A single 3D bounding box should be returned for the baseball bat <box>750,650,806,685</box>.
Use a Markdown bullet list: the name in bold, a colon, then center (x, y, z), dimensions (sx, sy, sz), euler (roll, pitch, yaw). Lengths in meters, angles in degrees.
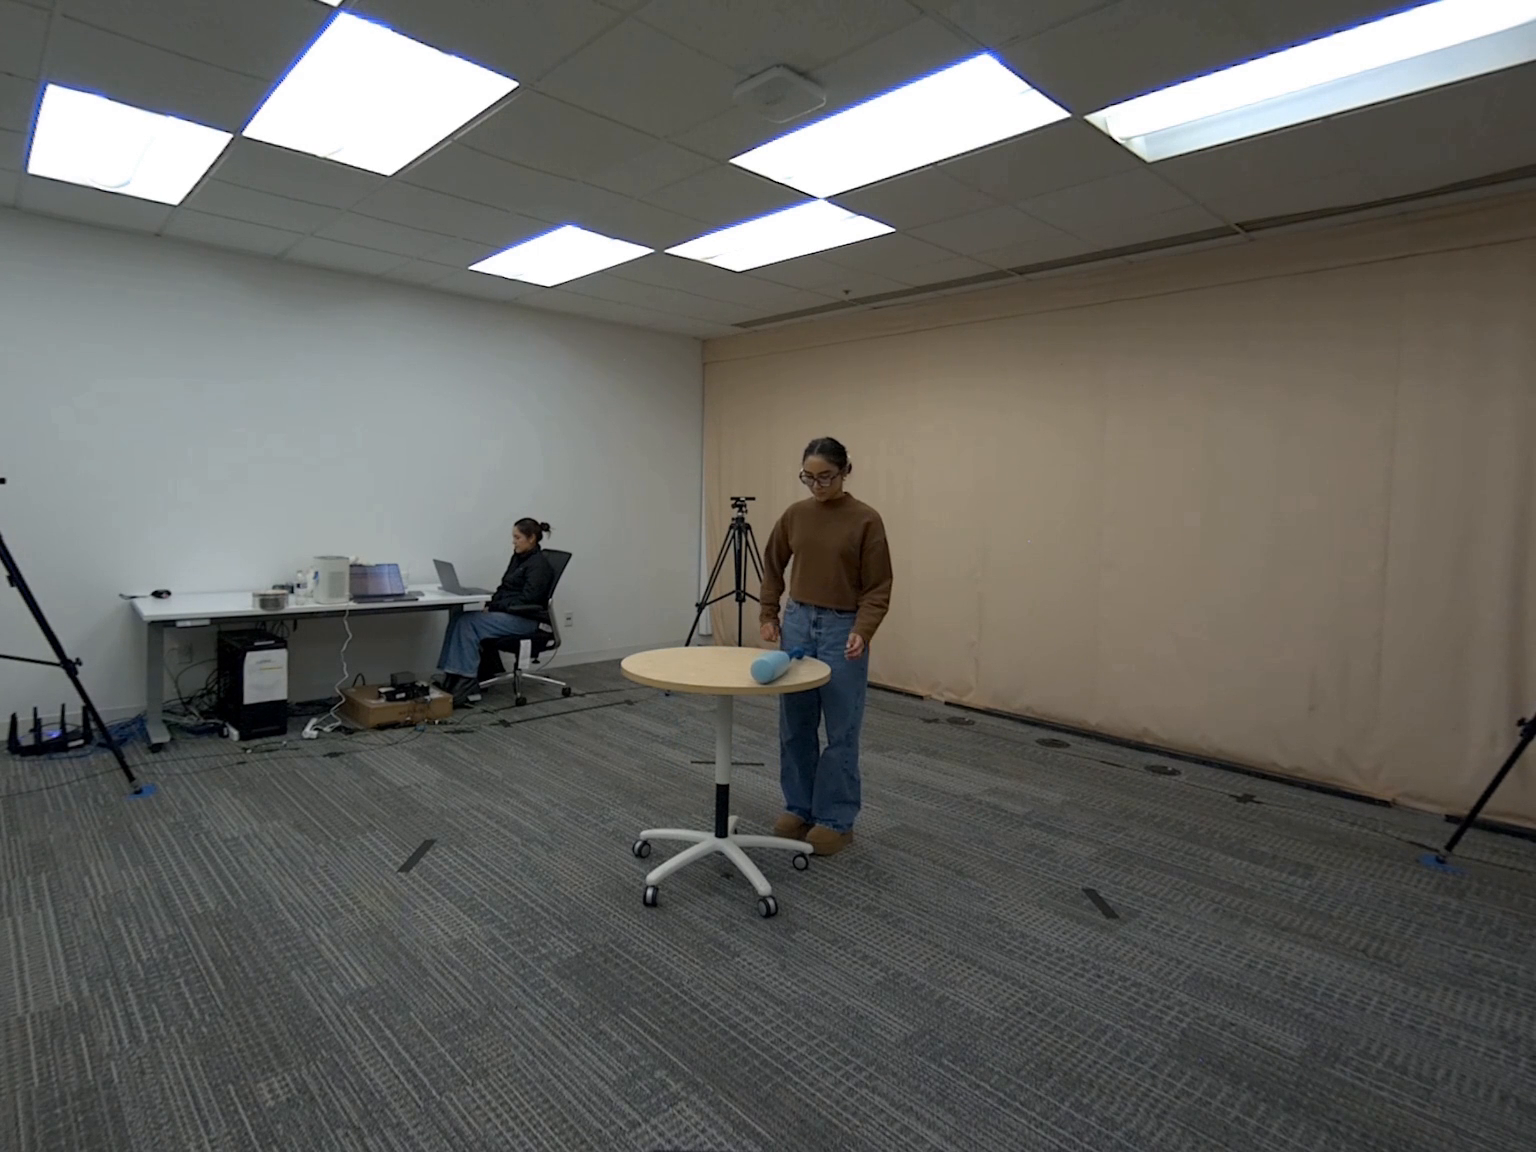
- **baseball bat**: center (0.046, 0.307, 2.989), dimensions (0.090, 0.089, 0.536), euler (3, 2, 15)
